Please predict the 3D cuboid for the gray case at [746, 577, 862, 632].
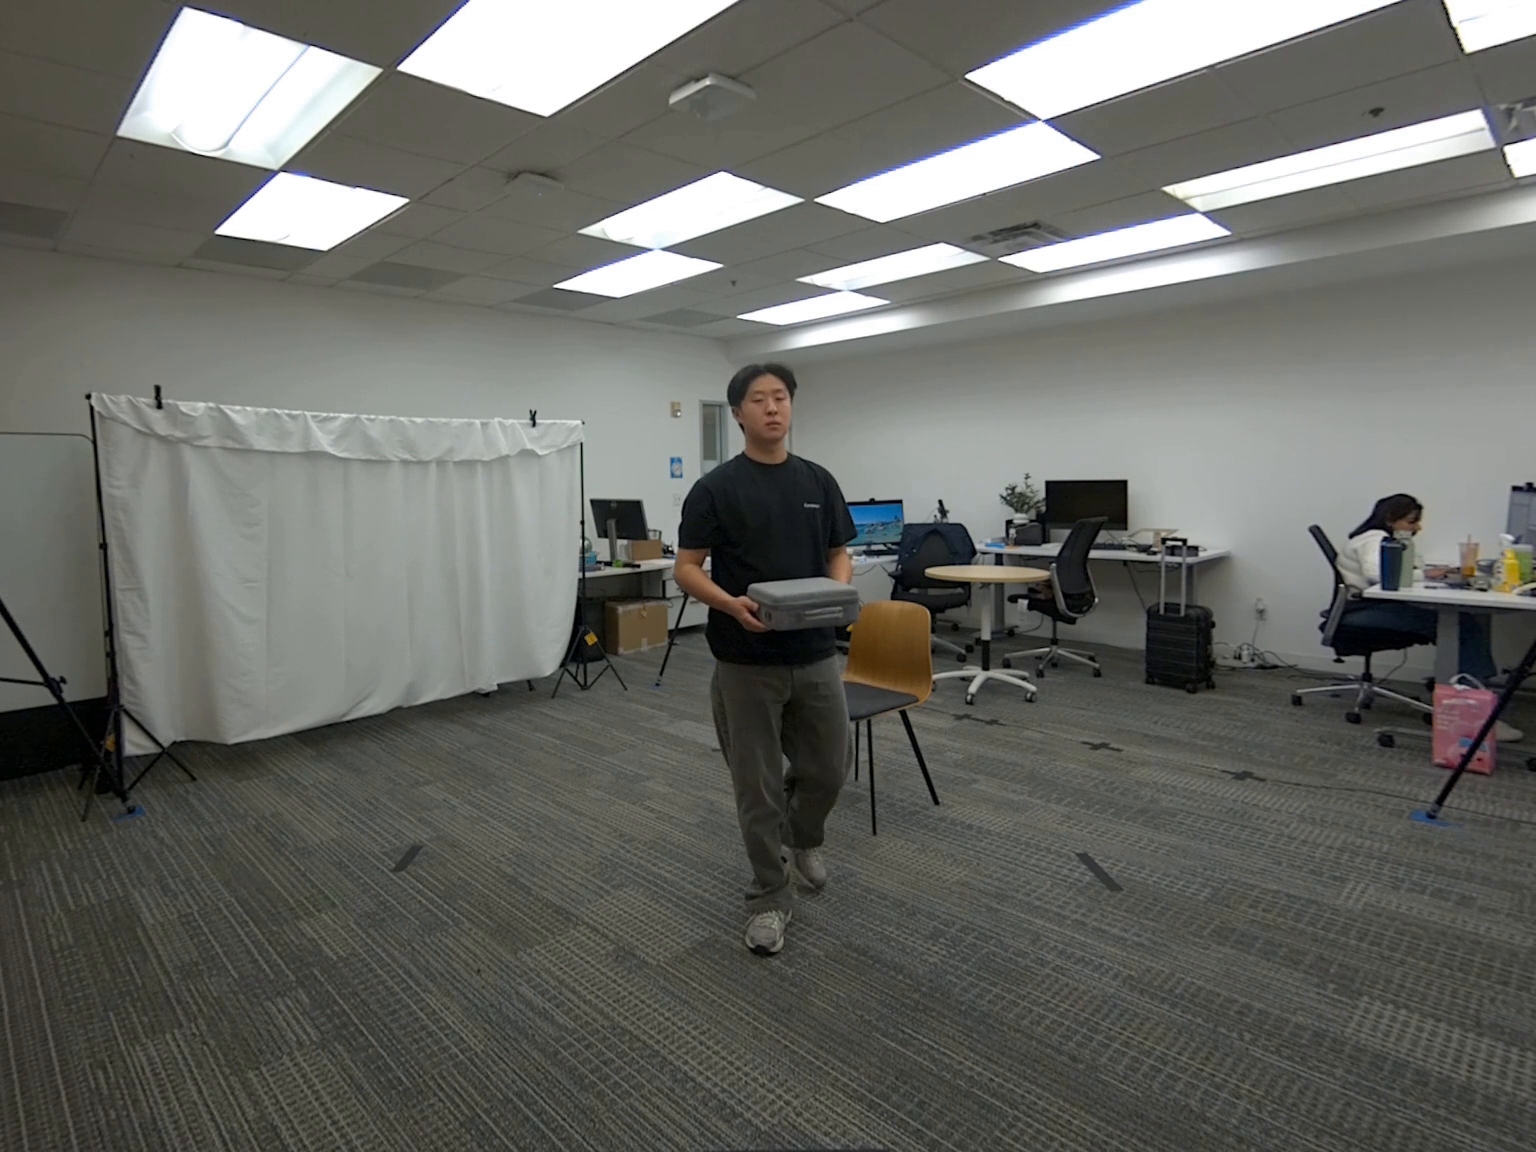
[{"bbox_3d":[0.084,0.081,2.351,0.259,0.102,0.293,-4,8,-19],"label":"gray case"}]
